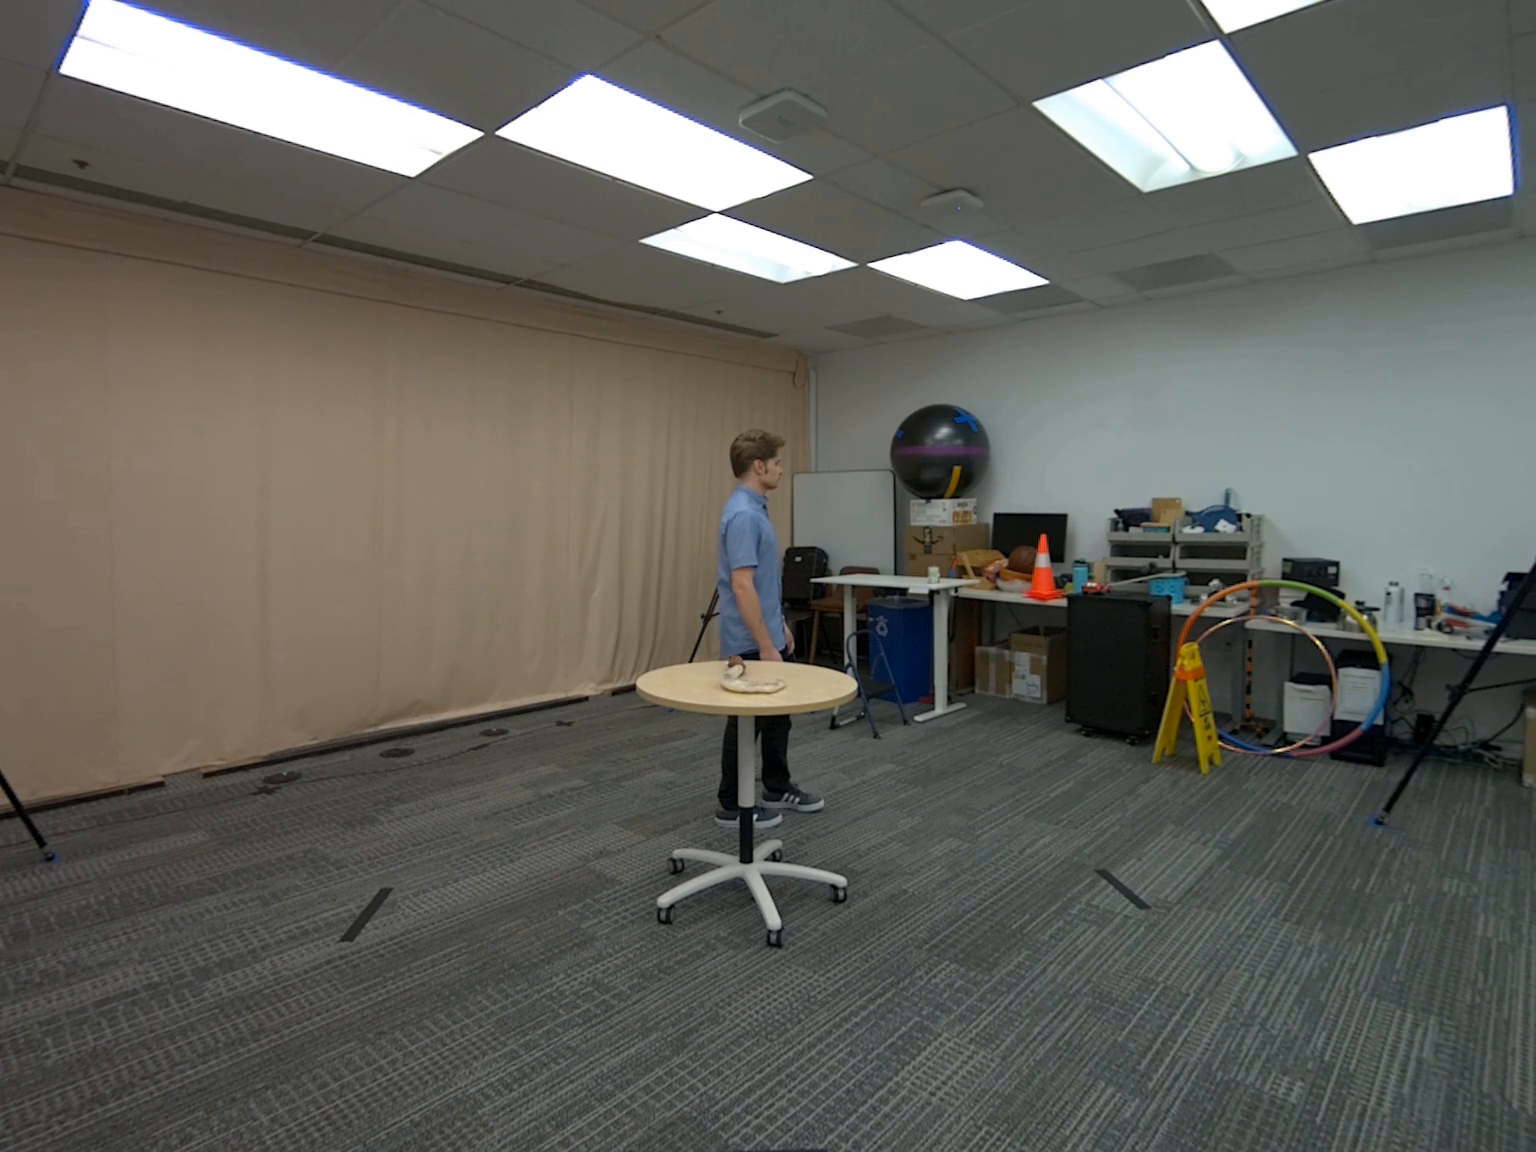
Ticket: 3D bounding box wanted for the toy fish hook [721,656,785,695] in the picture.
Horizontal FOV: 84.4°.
[{"bbox_3d":[-0.056,0.347,2.972,0.224,0.048,0.509,5,6,-4],"label":"toy fish hook"}]
